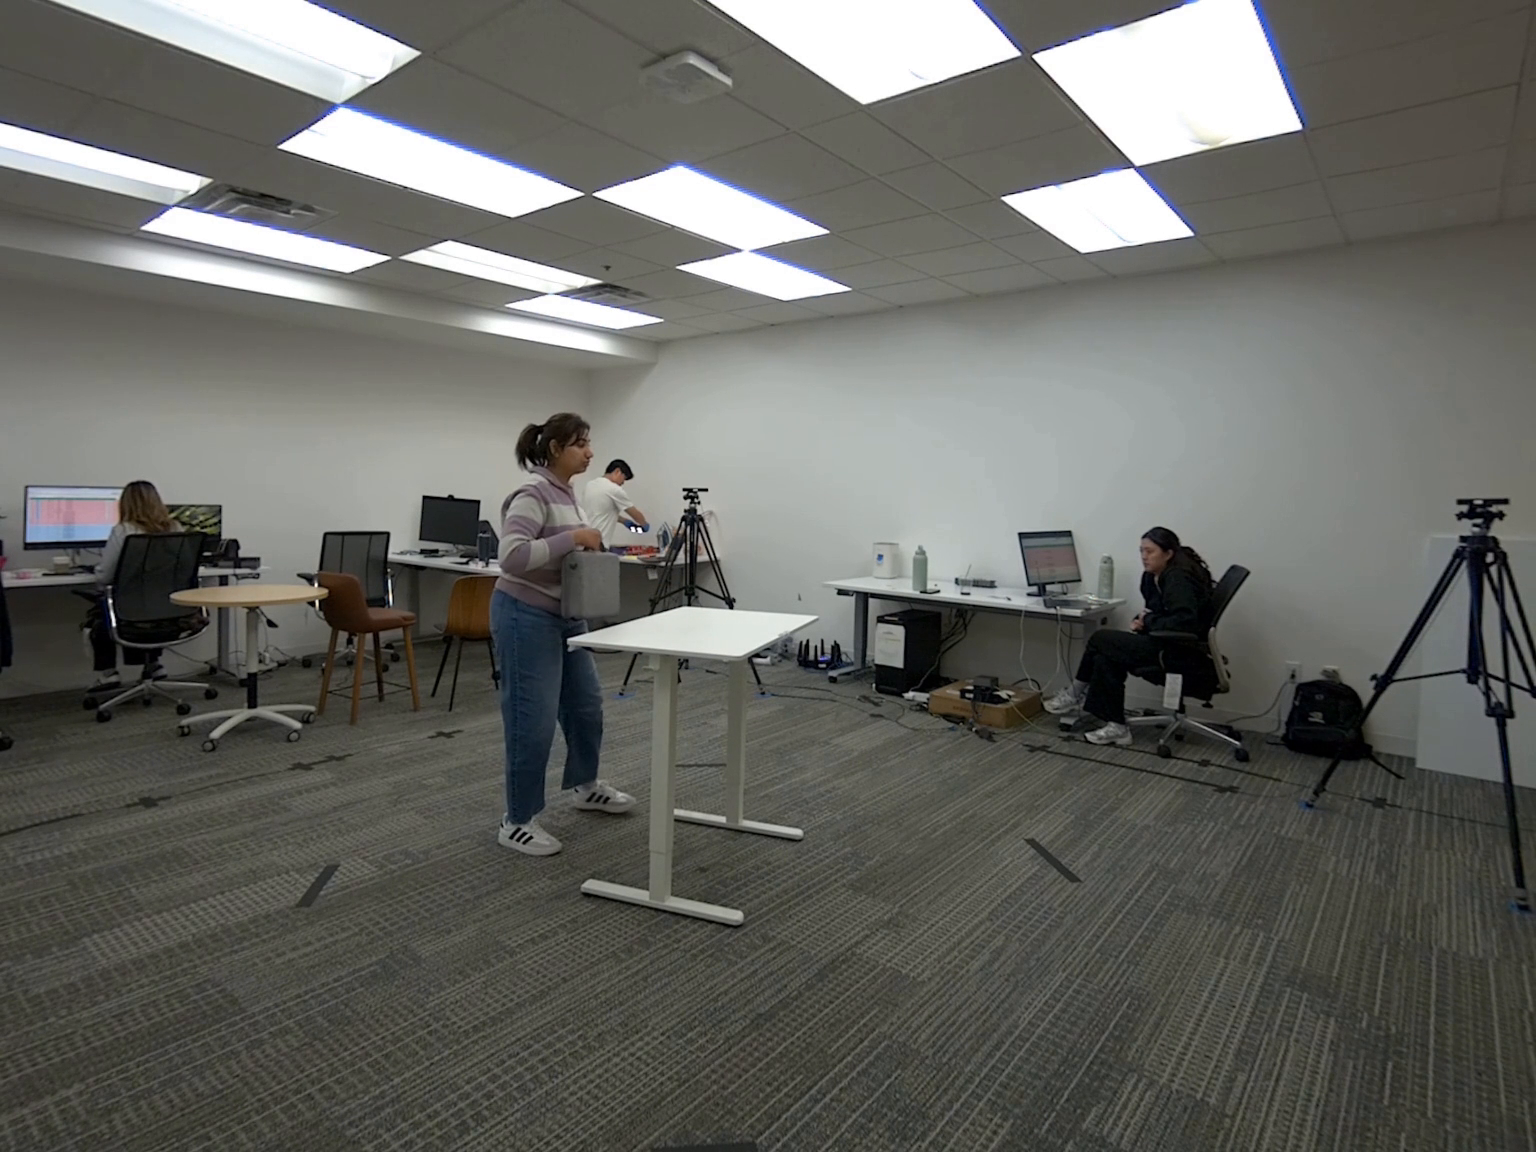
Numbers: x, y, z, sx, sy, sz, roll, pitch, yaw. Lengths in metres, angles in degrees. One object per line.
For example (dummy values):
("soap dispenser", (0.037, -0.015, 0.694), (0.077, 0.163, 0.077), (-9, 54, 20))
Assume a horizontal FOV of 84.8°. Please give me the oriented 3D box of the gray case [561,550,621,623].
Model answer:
("gray case", (-0.676, 0.034, 3.209), (0.107, 0.260, 0.250), (1, 1, 25))
